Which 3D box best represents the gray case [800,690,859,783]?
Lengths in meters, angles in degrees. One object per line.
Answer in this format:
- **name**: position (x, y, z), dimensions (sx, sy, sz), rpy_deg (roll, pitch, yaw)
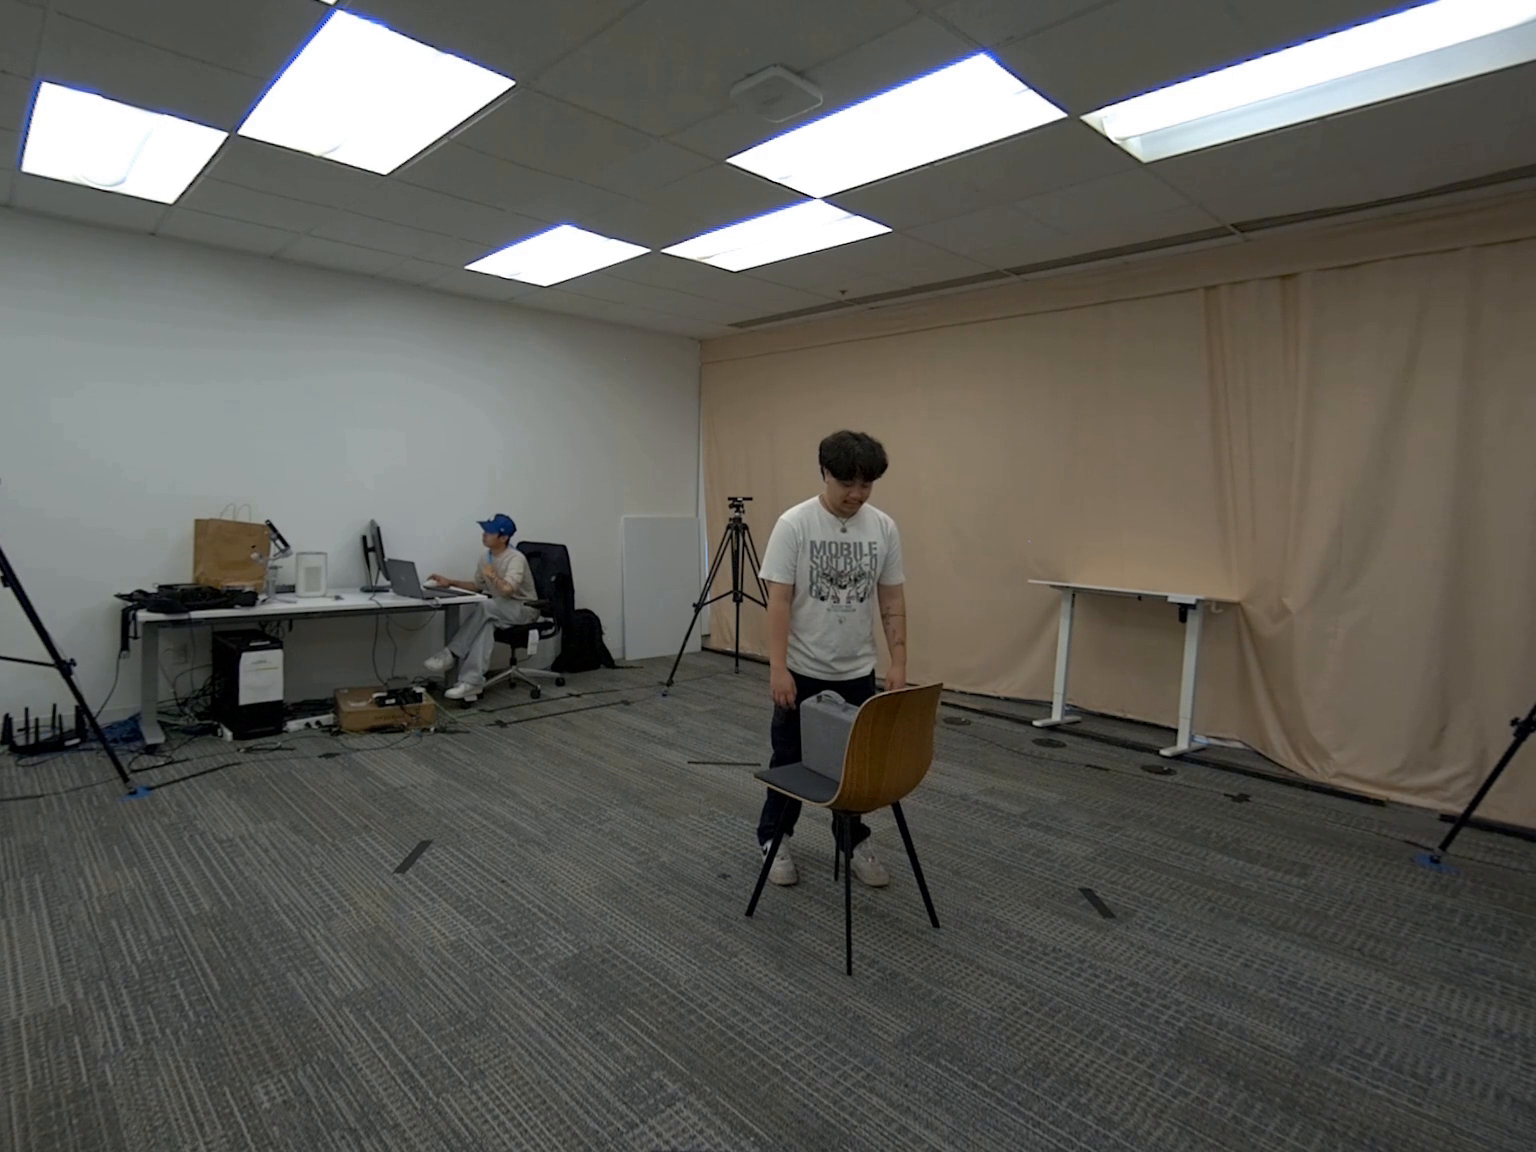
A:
- **gray case**: position (0.221, 0.541, 2.780), dimensions (0.102, 0.258, 0.264), rpy_deg (-14, 17, -39)
